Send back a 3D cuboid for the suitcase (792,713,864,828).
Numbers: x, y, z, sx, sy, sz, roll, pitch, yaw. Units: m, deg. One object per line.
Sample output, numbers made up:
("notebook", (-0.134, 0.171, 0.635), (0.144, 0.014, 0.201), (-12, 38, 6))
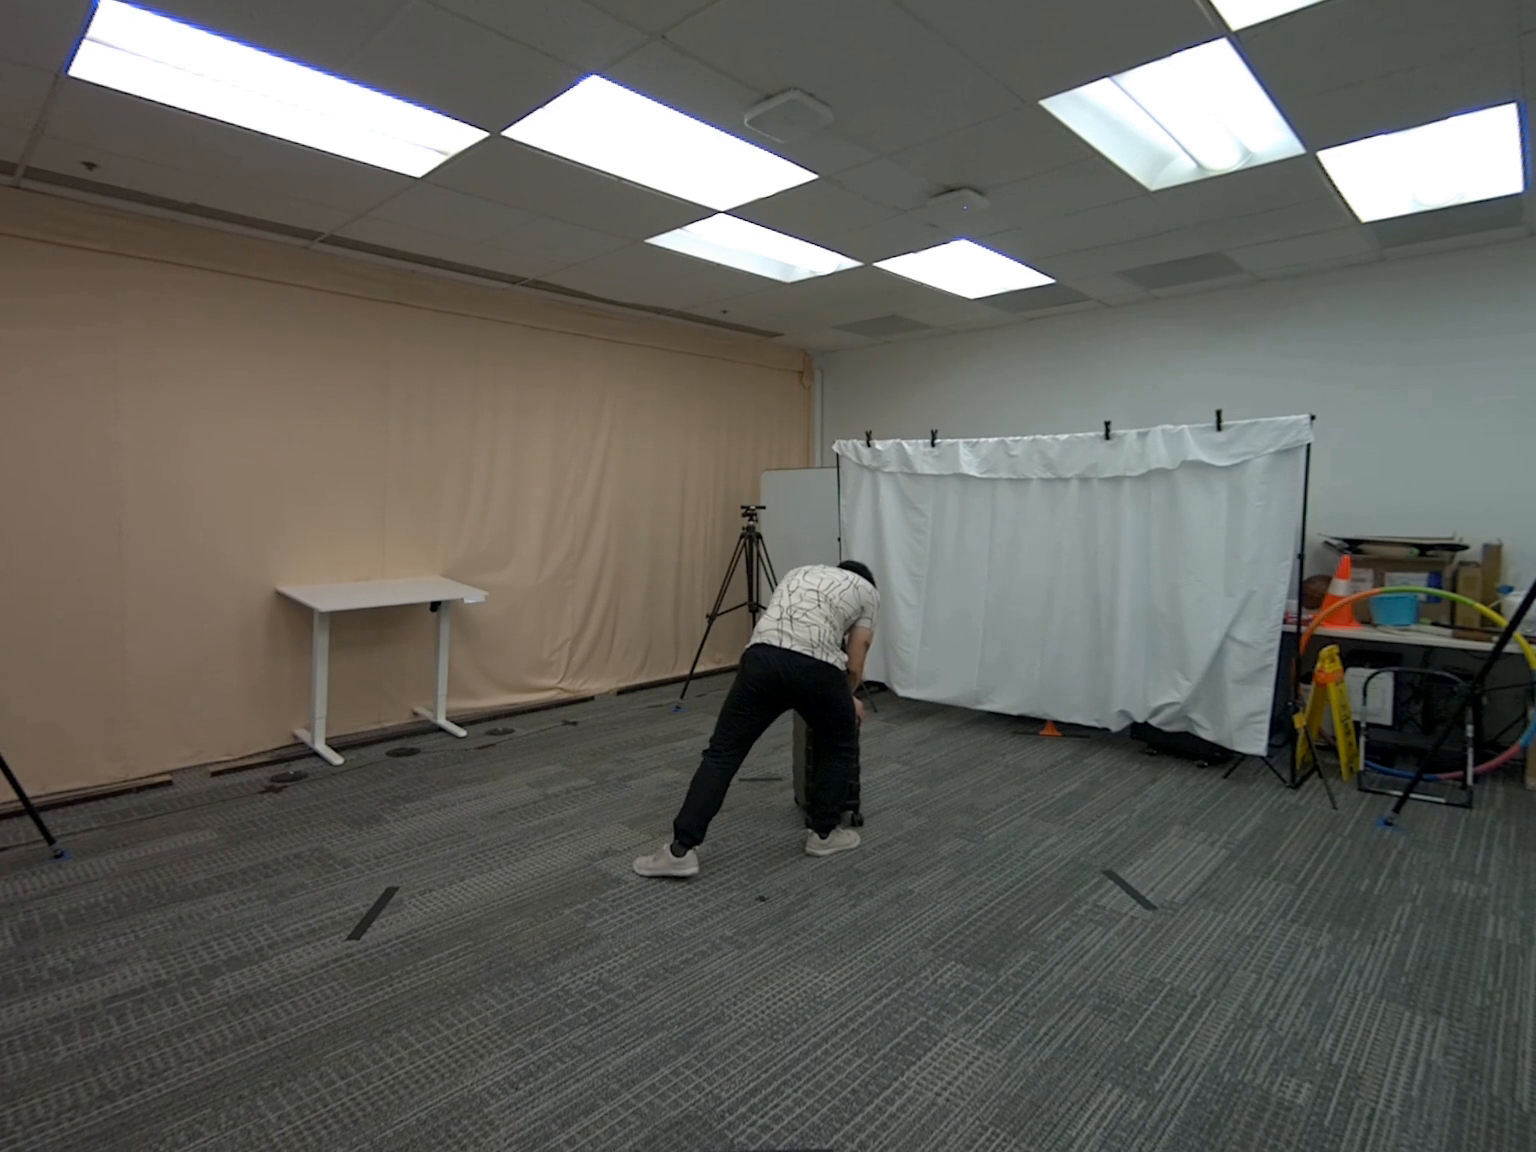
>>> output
("suitcase", (0.266, 0.802, 3.814), (0.246, 0.549, 0.379), (0, 2, -9))
